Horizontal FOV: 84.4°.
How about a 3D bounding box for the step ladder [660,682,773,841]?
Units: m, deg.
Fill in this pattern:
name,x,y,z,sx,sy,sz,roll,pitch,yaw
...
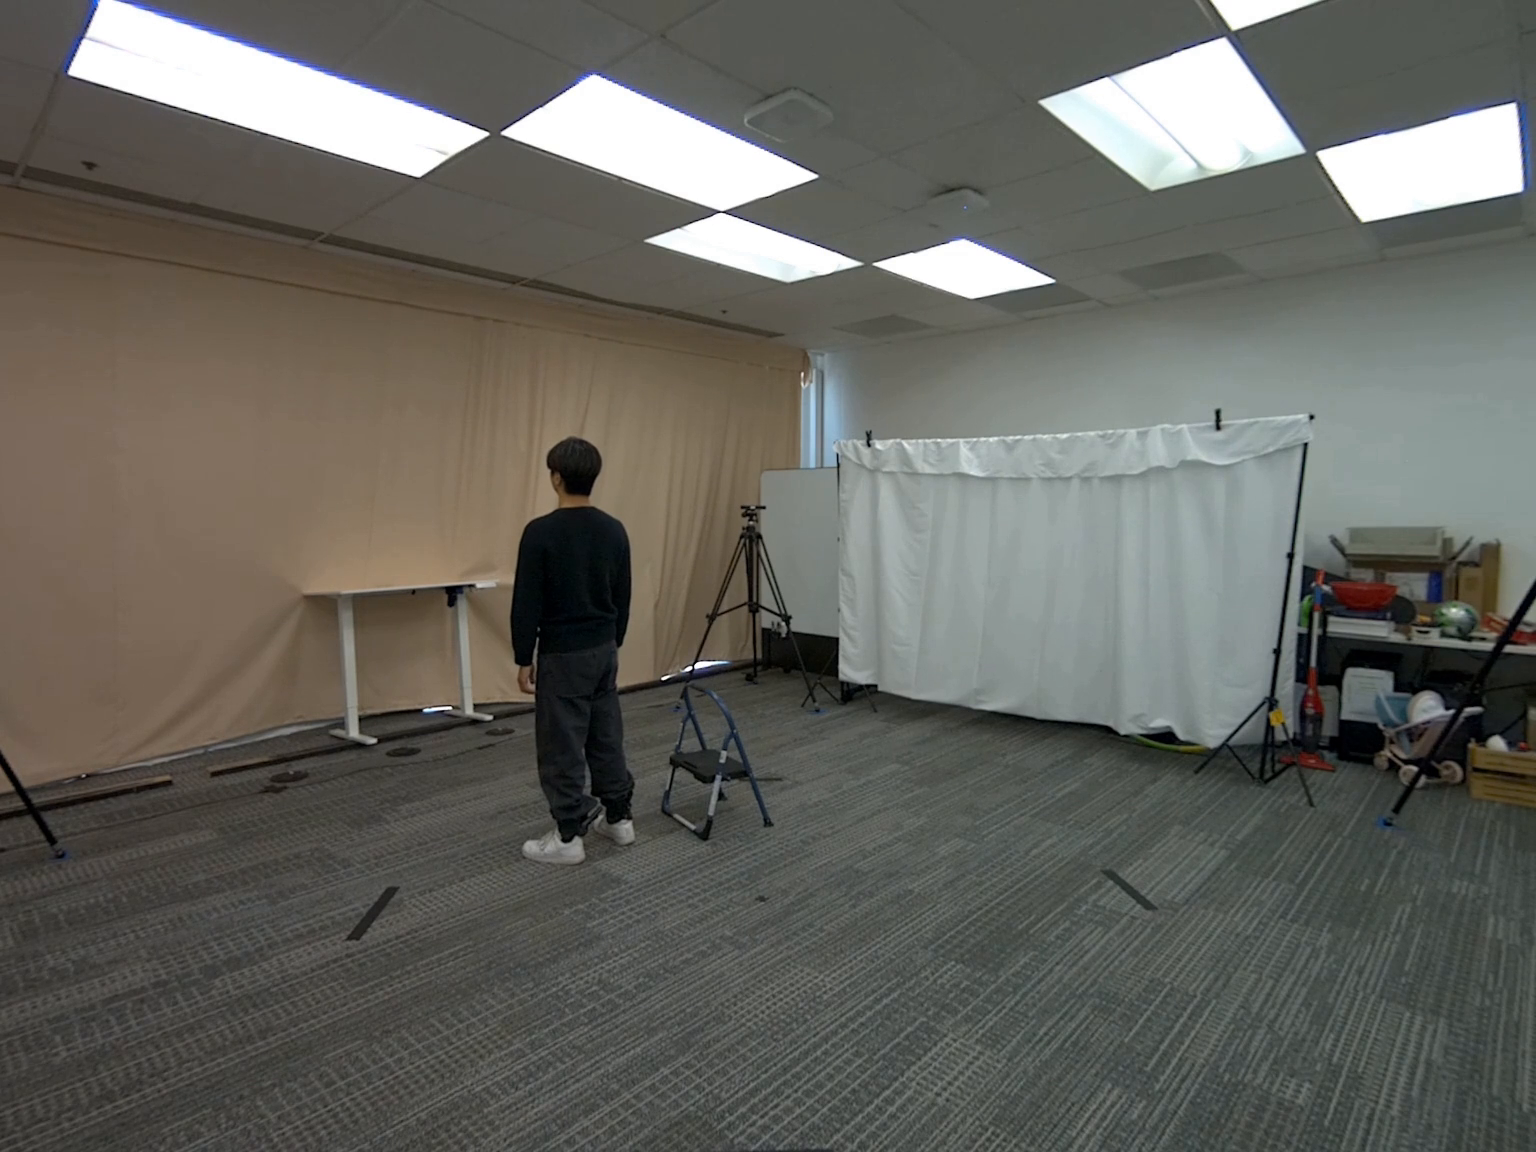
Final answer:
name,x,y,z,sx,sy,sz,roll,pitch,yaw
step ladder,-0.238,0.777,3.745,0.339,0.605,0.443,-2,3,-32
